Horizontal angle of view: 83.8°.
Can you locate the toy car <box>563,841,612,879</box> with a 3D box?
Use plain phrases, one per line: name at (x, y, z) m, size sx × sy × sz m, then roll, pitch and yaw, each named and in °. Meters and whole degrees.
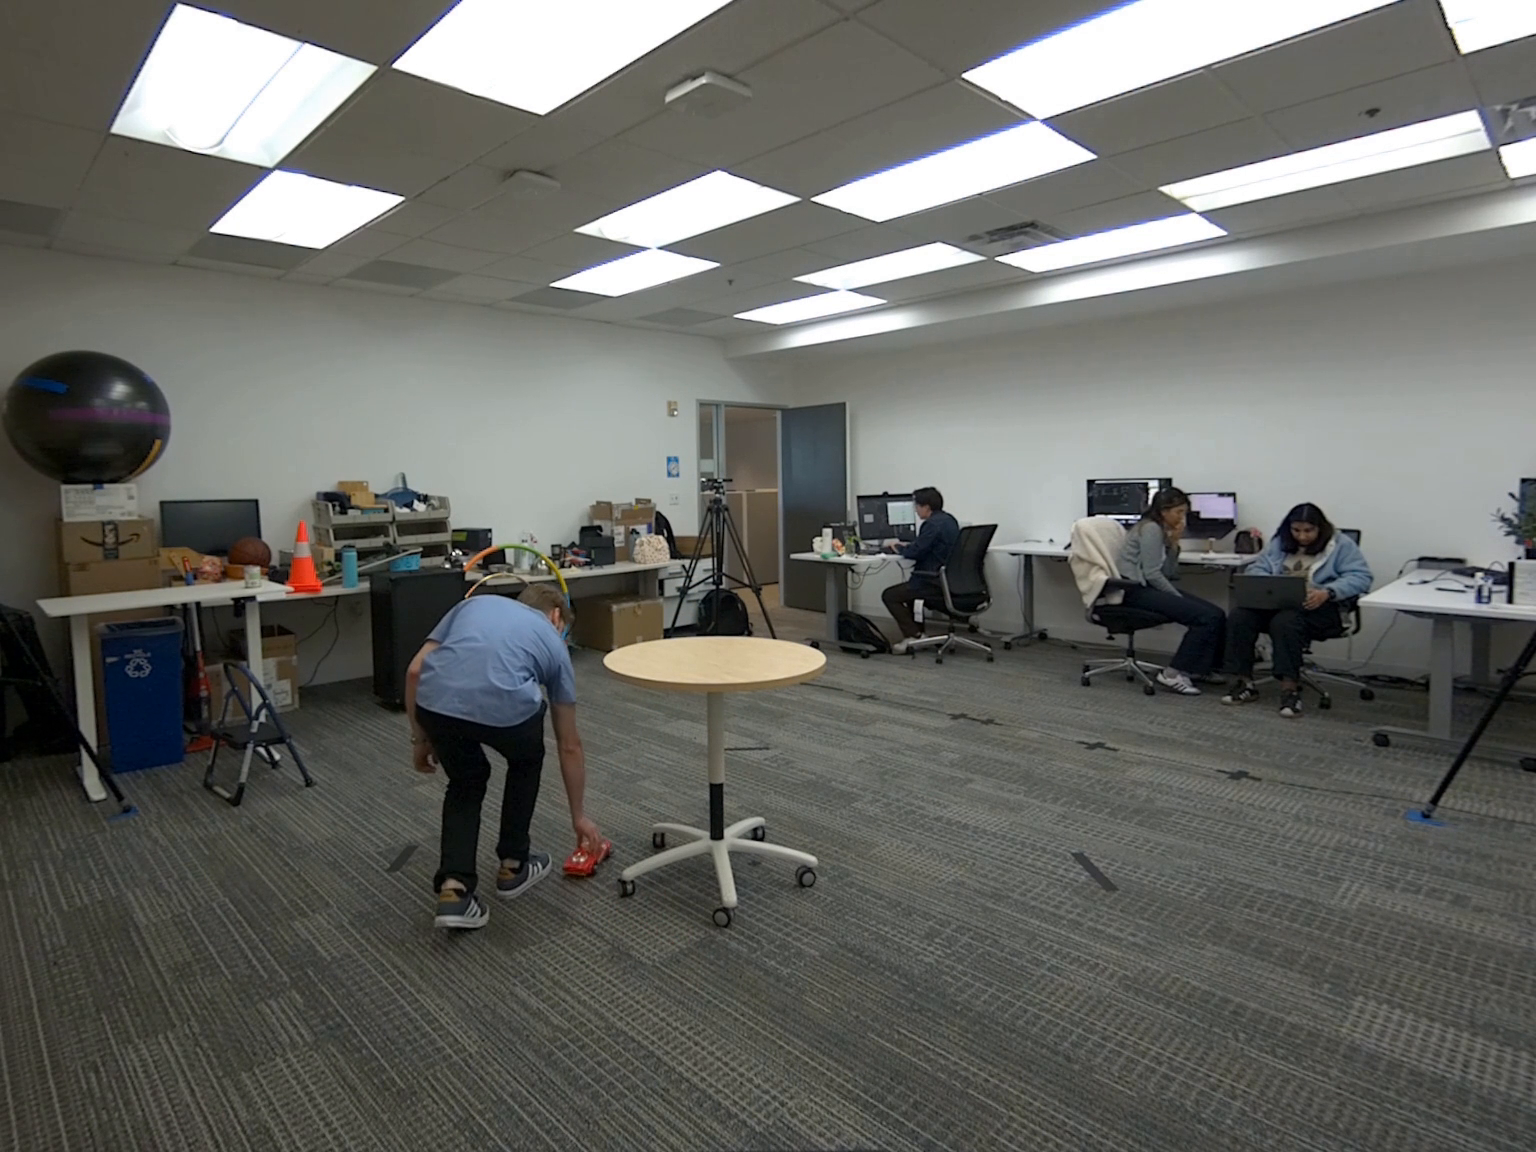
toy car at (-0.657, 1.031, 3.089) m, size 0.131 × 0.083 × 0.251 m, roll -1°, pitch -4°, yaw 9°
